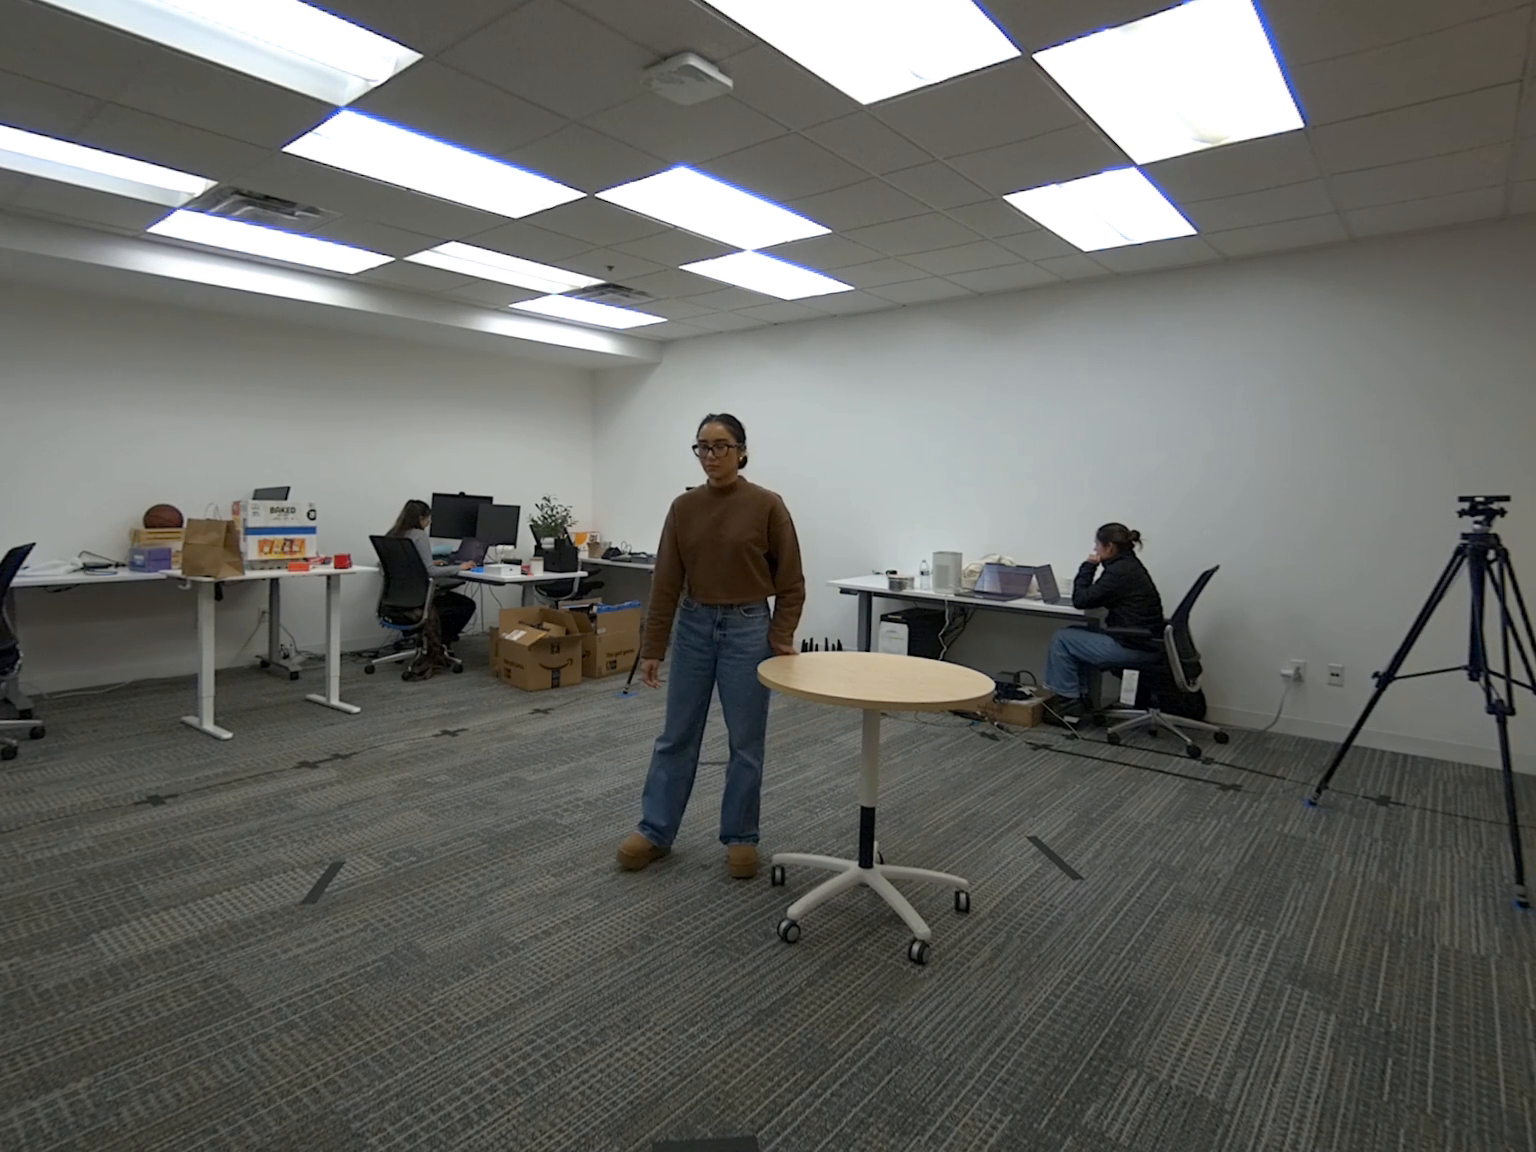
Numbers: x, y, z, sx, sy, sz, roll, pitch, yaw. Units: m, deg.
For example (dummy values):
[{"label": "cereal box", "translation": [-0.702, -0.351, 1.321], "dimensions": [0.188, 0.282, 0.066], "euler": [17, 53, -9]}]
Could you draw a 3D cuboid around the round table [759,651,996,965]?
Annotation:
[{"label": "round table", "translation": [0.311, 0.709, 2.812], "dimensions": [0.784, 0.784, 0.788], "euler": [2, 4, -2]}]
